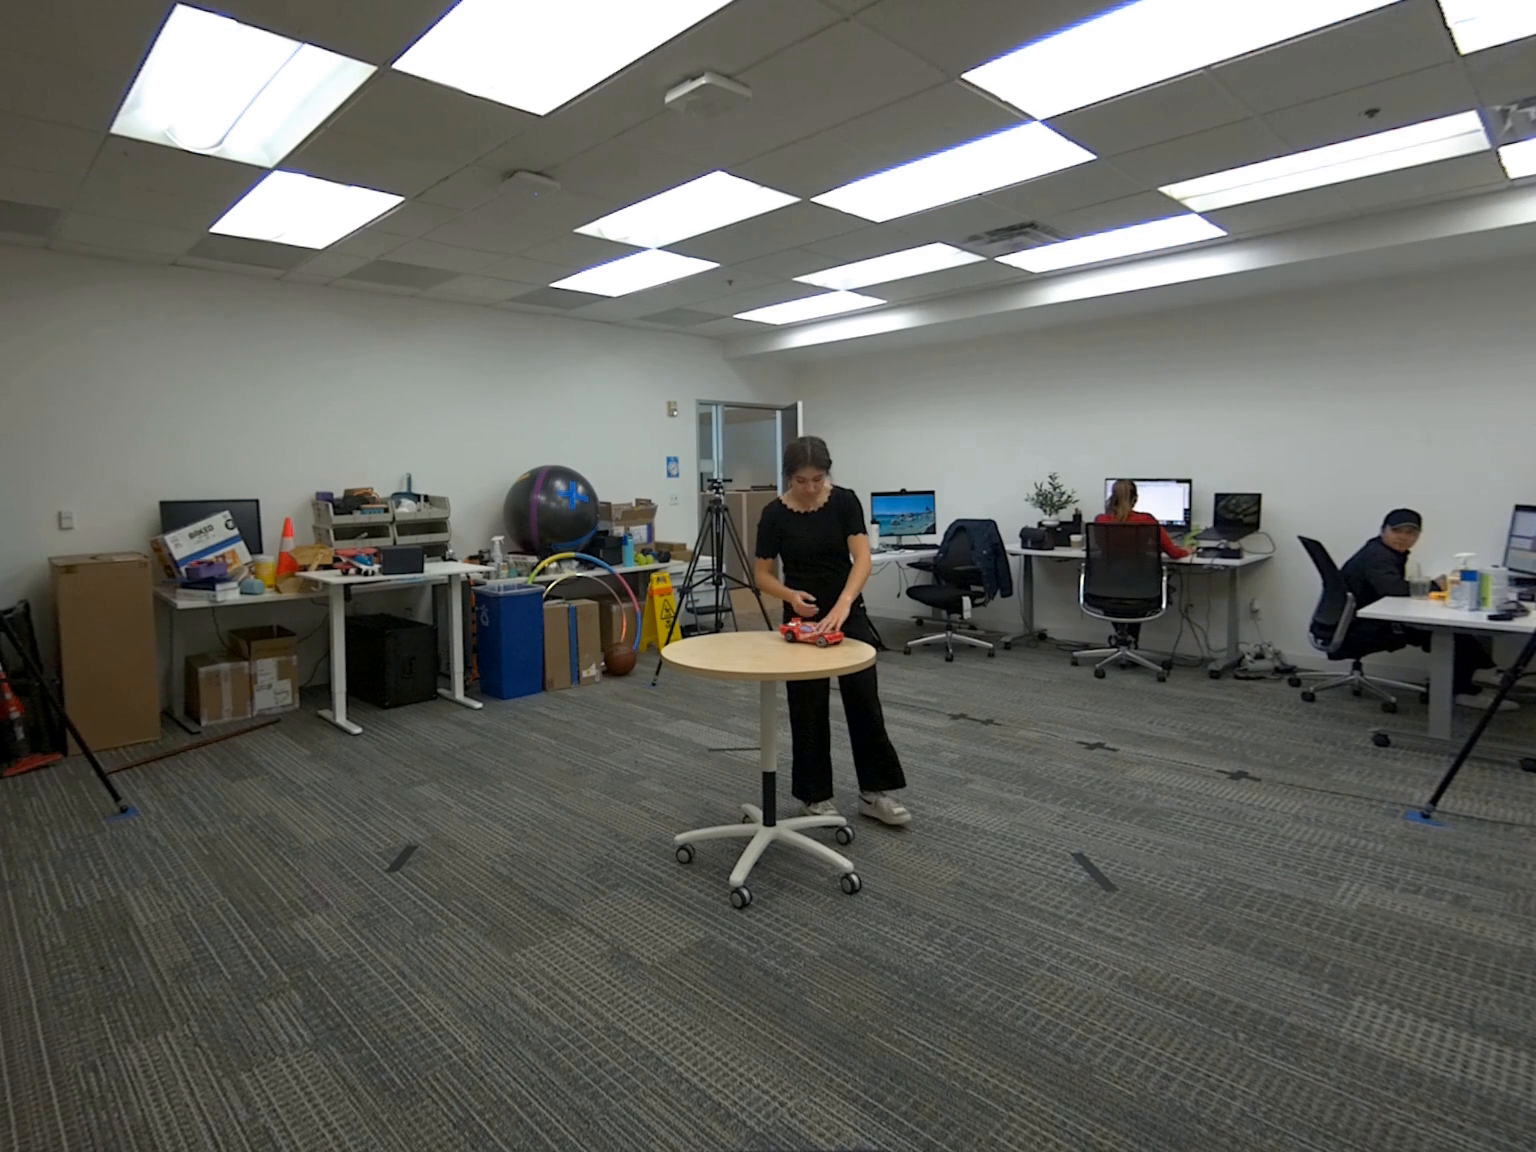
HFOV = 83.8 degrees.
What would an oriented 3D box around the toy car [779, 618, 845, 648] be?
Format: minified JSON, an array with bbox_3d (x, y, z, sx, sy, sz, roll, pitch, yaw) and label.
[{"bbox_3d":[0.154,0.221,3.193,0.264,0.082,0.127,19,17,39],"label":"toy car"}]
